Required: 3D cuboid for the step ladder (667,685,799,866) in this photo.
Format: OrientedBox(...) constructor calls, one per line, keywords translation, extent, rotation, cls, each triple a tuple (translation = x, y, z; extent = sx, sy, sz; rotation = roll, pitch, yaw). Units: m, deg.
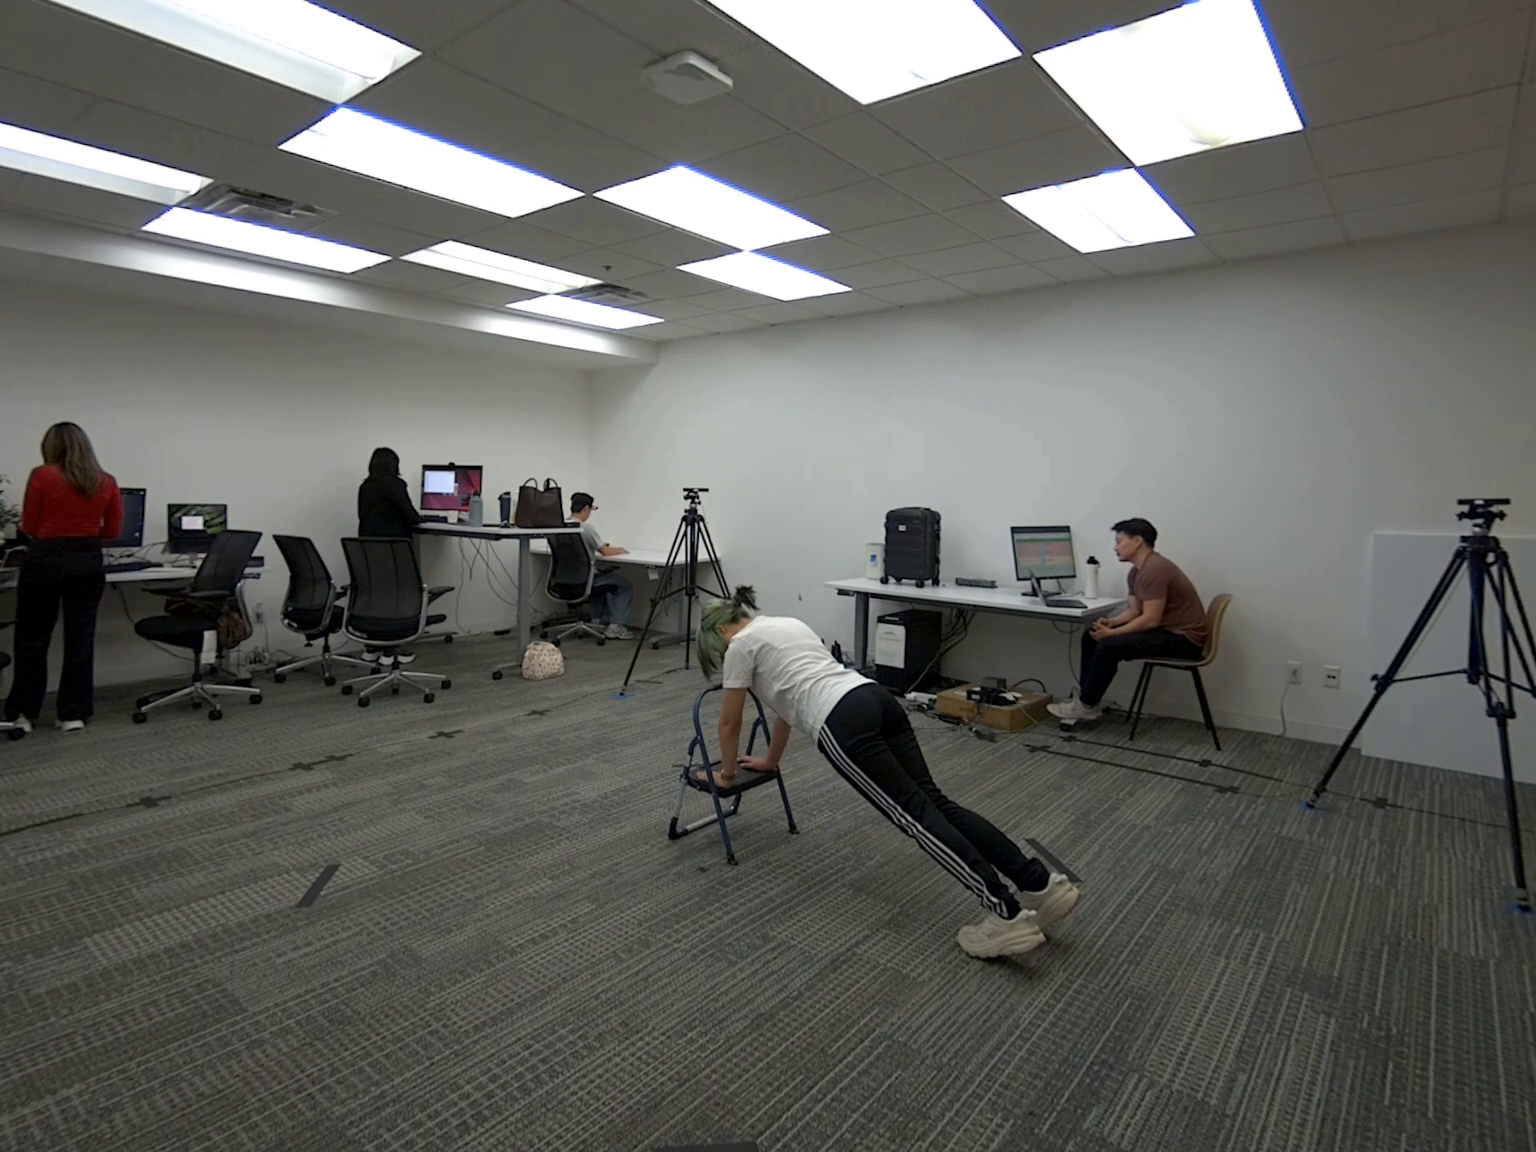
OrientedBox(translation=(-0.144, 0.740, 3.403), extent=(0.361, 0.604, 0.418), rotation=(4, 4, 38), cls="step ladder")
